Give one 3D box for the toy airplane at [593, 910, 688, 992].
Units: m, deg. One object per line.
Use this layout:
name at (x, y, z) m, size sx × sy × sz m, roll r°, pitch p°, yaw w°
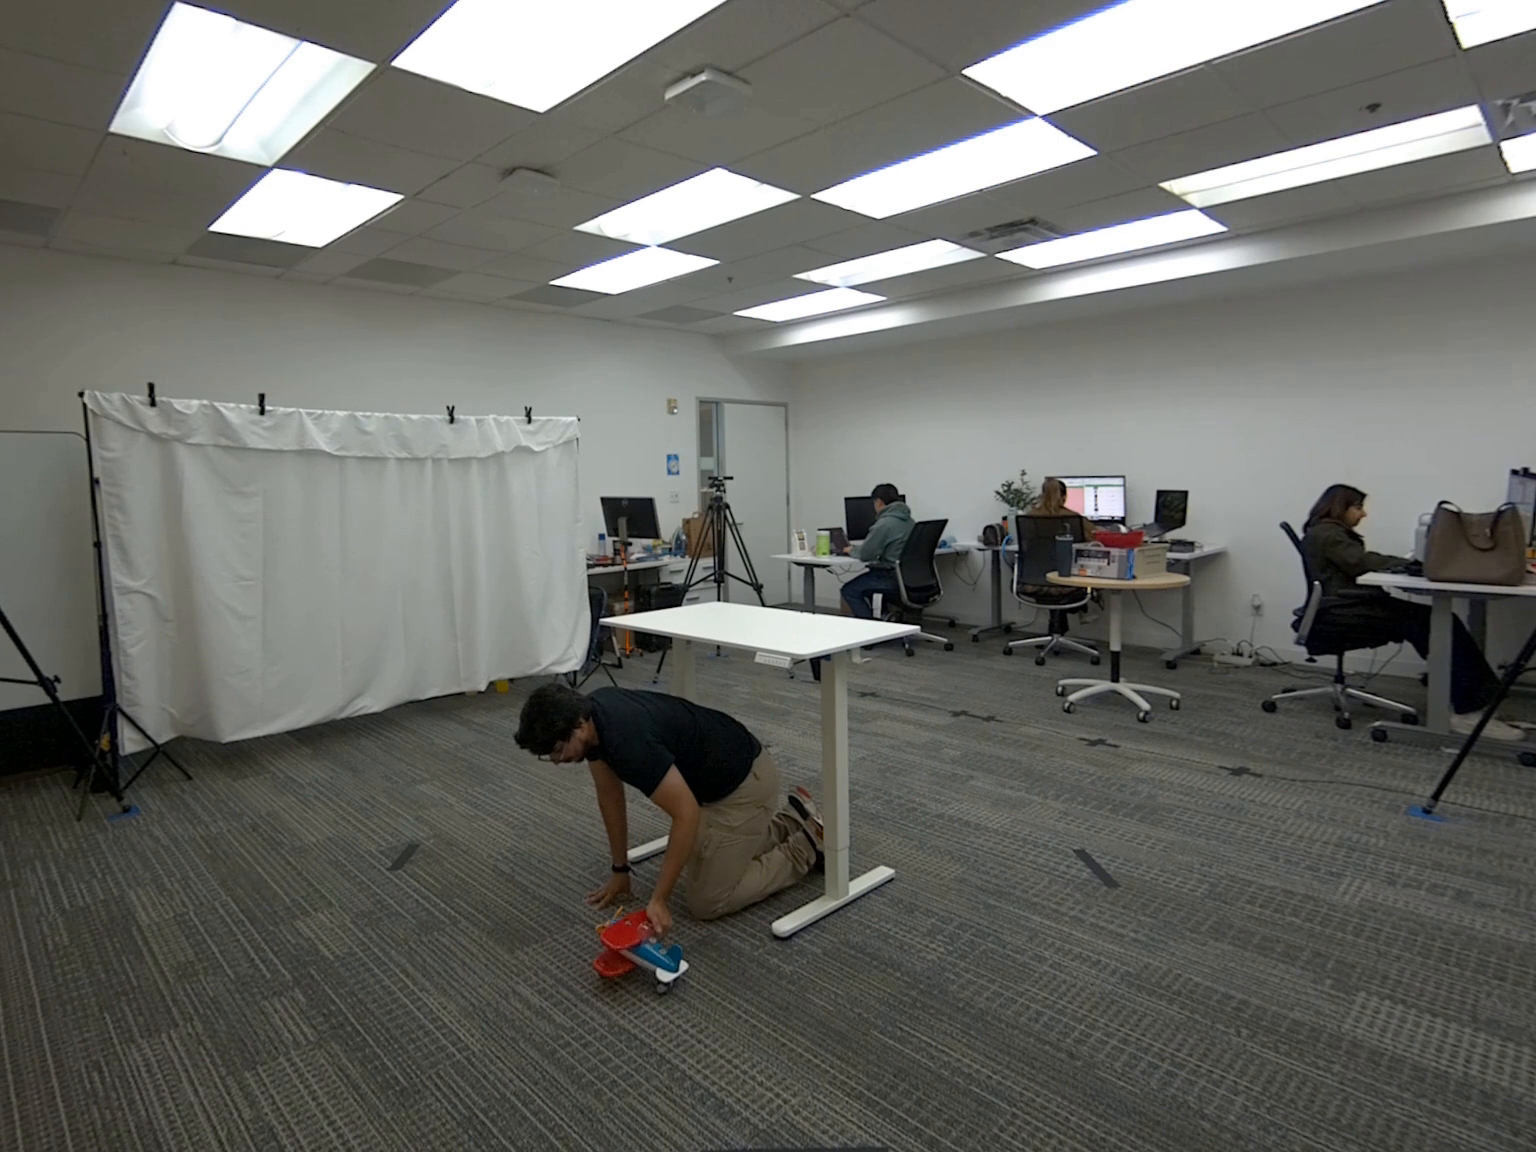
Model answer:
toy airplane at (-0.348, 1.046, 2.414) m, size 0.260 × 0.156 × 0.251 m, roll 1°, pitch 1°, yaw 1°
